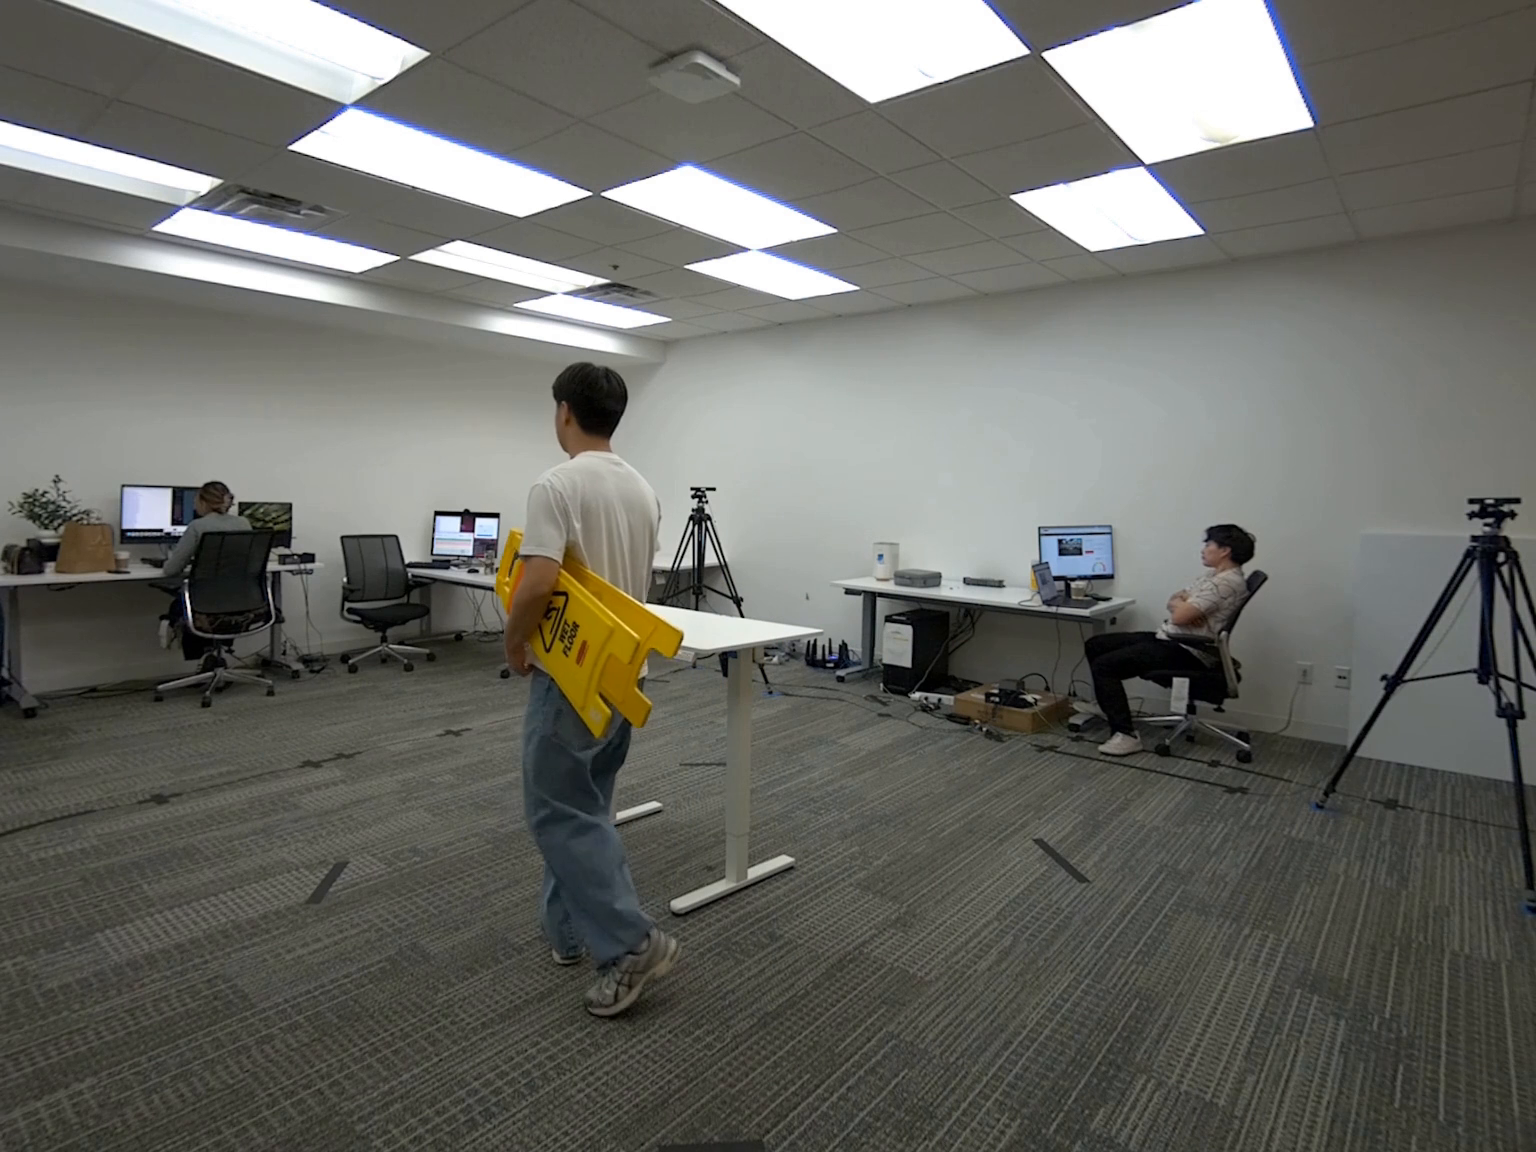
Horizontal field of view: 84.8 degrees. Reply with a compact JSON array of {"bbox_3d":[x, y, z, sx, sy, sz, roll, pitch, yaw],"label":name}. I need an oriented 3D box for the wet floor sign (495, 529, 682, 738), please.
[{"bbox_3d":[-0.532,0.100,2.240,0.671,0.280,0.281,33,19,31],"label":"wet floor sign"}]
